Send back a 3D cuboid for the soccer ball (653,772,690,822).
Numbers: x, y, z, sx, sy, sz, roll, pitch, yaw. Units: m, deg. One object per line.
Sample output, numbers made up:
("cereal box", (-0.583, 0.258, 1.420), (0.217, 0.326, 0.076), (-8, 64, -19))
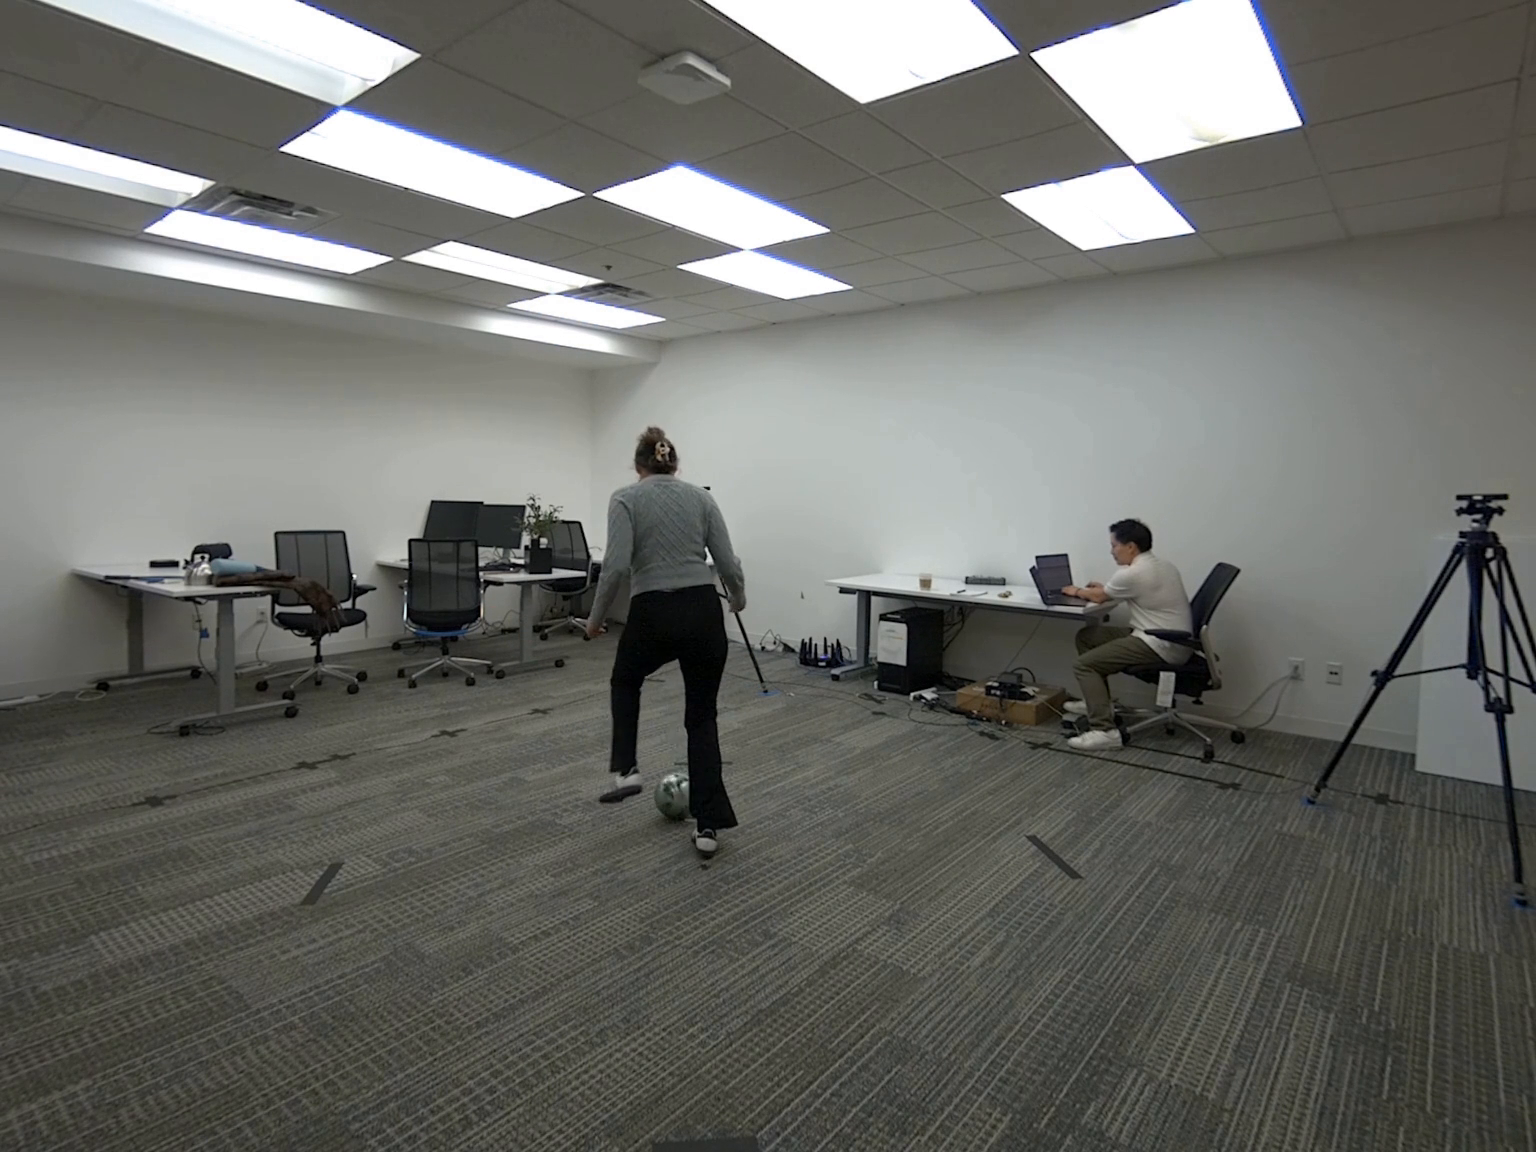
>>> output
("soccer ball", (-0.398, 0.921, 3.583), (0.187, 0.187, 0.188), (1, 4, -2))
